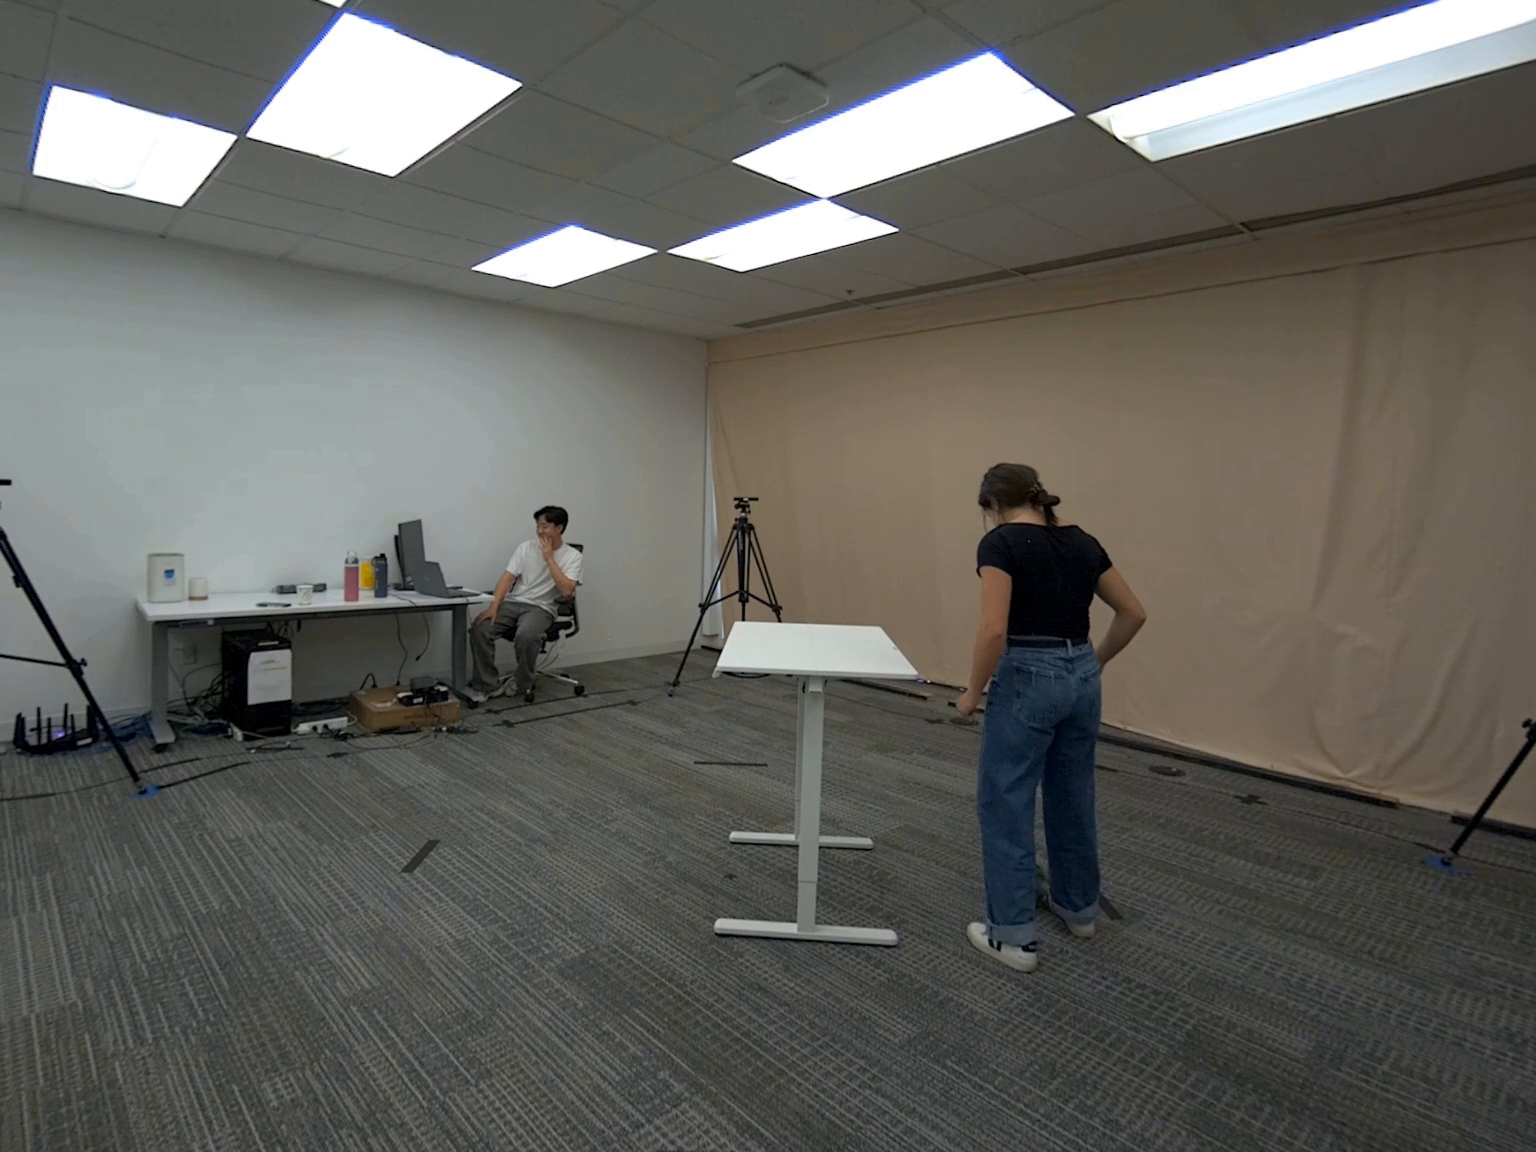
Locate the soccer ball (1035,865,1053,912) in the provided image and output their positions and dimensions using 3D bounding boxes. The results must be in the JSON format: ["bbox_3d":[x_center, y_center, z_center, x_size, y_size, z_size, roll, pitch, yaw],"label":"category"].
[{"bbox_3d":[0.894,1.064,2.956,0.187,0.187,0.188,1,4,-1],"label":"soccer ball"}]
